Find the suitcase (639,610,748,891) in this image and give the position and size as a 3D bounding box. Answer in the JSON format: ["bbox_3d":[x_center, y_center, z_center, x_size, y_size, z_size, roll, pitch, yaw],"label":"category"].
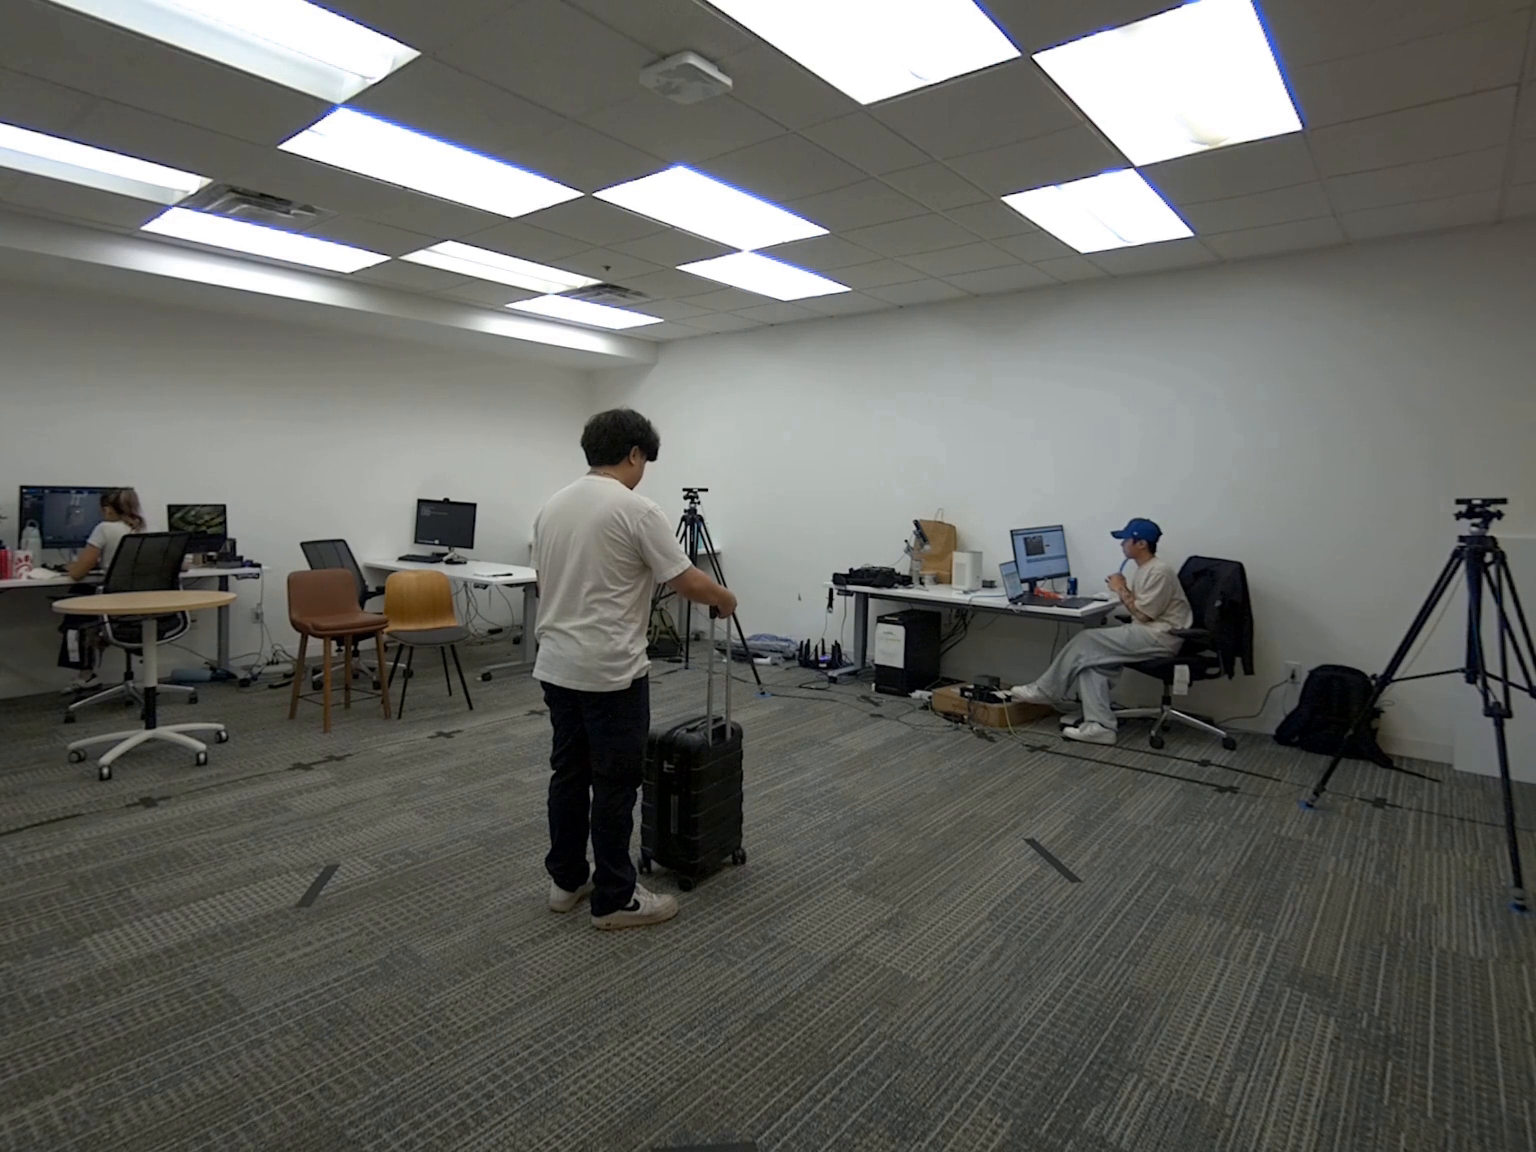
[{"bbox_3d":[-0.280,0.597,3.108,0.265,0.977,0.373,1,2,33],"label":"suitcase"}]
